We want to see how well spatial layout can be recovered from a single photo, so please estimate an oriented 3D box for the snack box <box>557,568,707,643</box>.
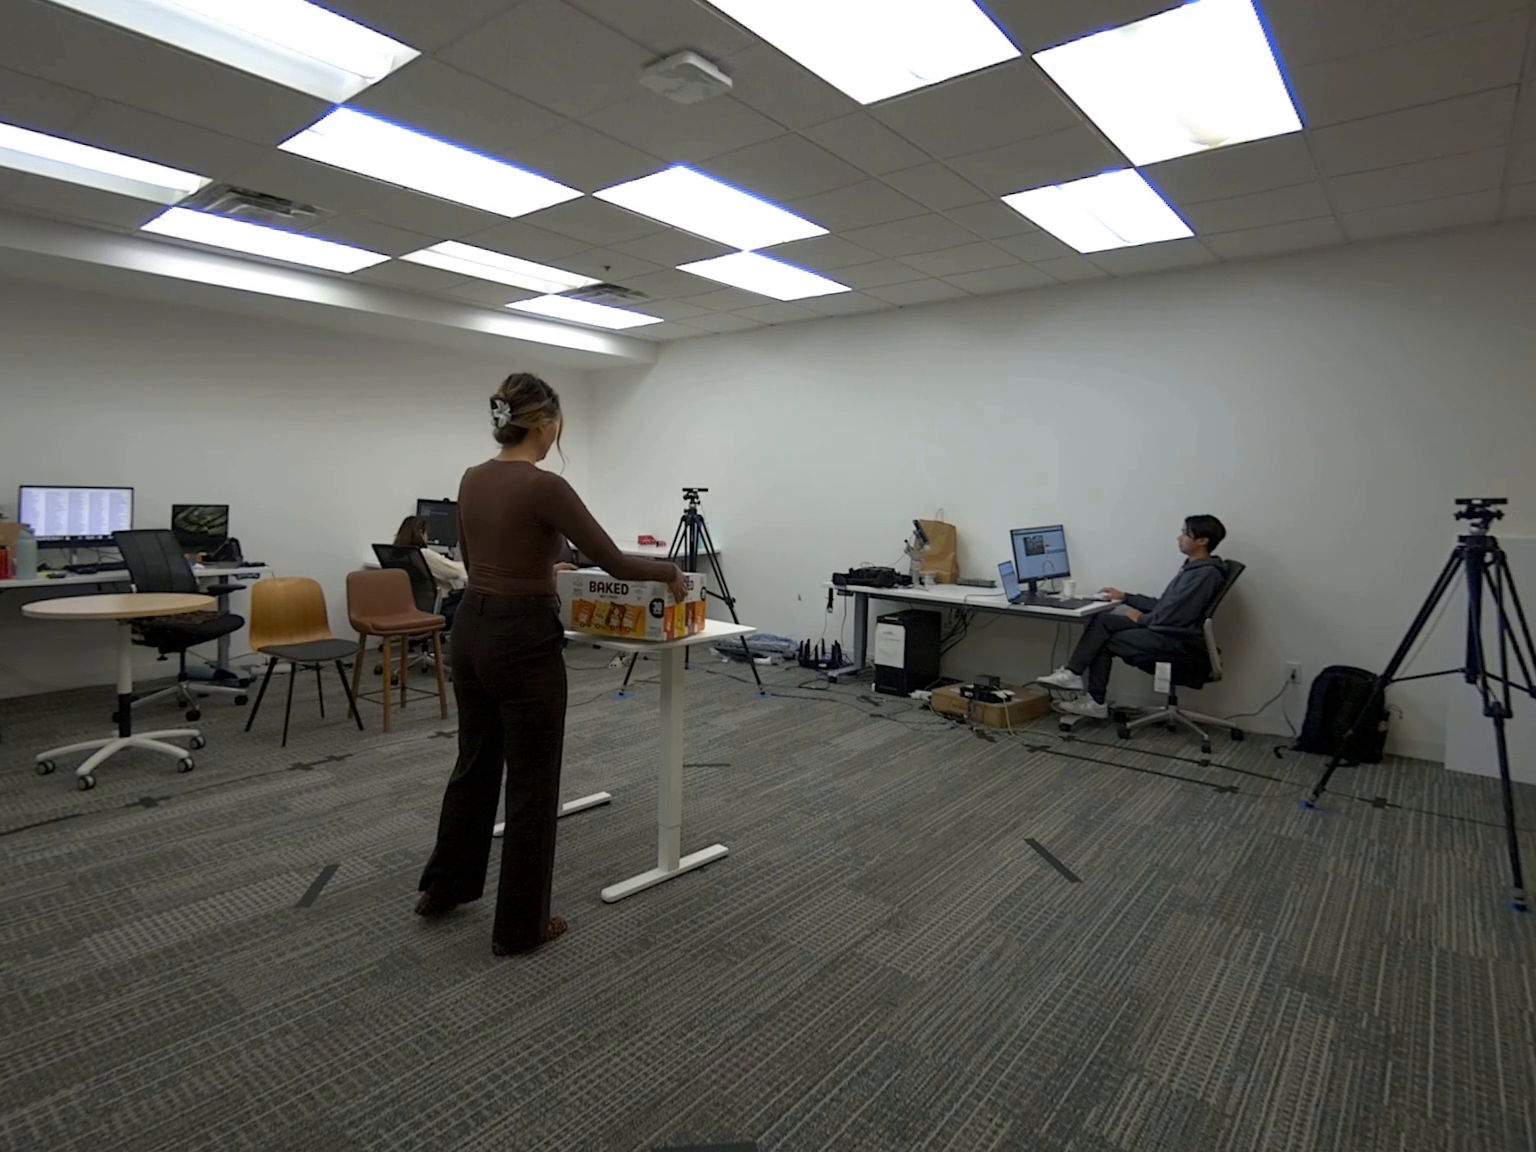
[{"bbox_3d":[-0.479,0.087,2.935,0.414,0.205,0.333,3,3,21],"label":"snack box"}]
